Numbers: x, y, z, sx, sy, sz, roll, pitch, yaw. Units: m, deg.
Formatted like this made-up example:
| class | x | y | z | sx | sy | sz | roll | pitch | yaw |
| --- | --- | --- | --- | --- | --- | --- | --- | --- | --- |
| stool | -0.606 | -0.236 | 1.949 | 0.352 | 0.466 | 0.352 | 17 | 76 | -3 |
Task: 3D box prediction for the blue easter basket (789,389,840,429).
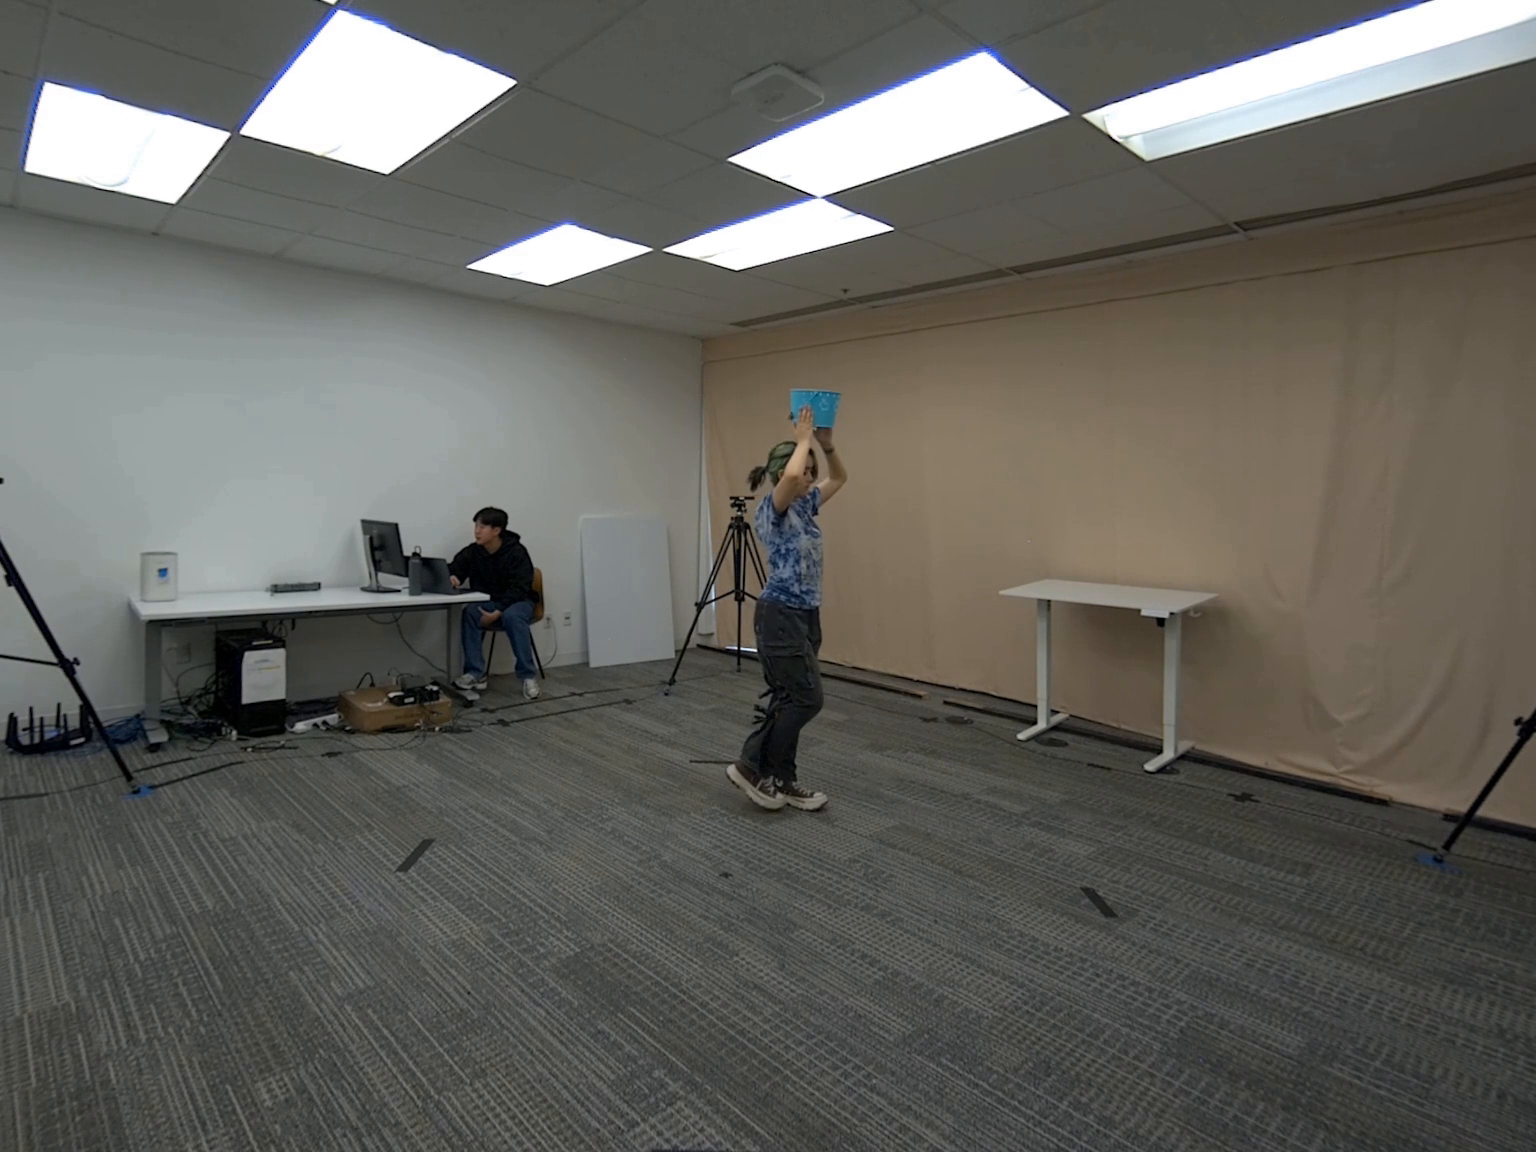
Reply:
| class | x | y | z | sx | sy | sz | roll | pitch | yaw |
| --- | --- | --- | --- | --- | --- | --- | --- | --- | --- |
| blue easter basket | 0.193 | -0.738 | 3.724 | 0.243 | 0.155 | 0.245 | 6 | 9 | -2 |
